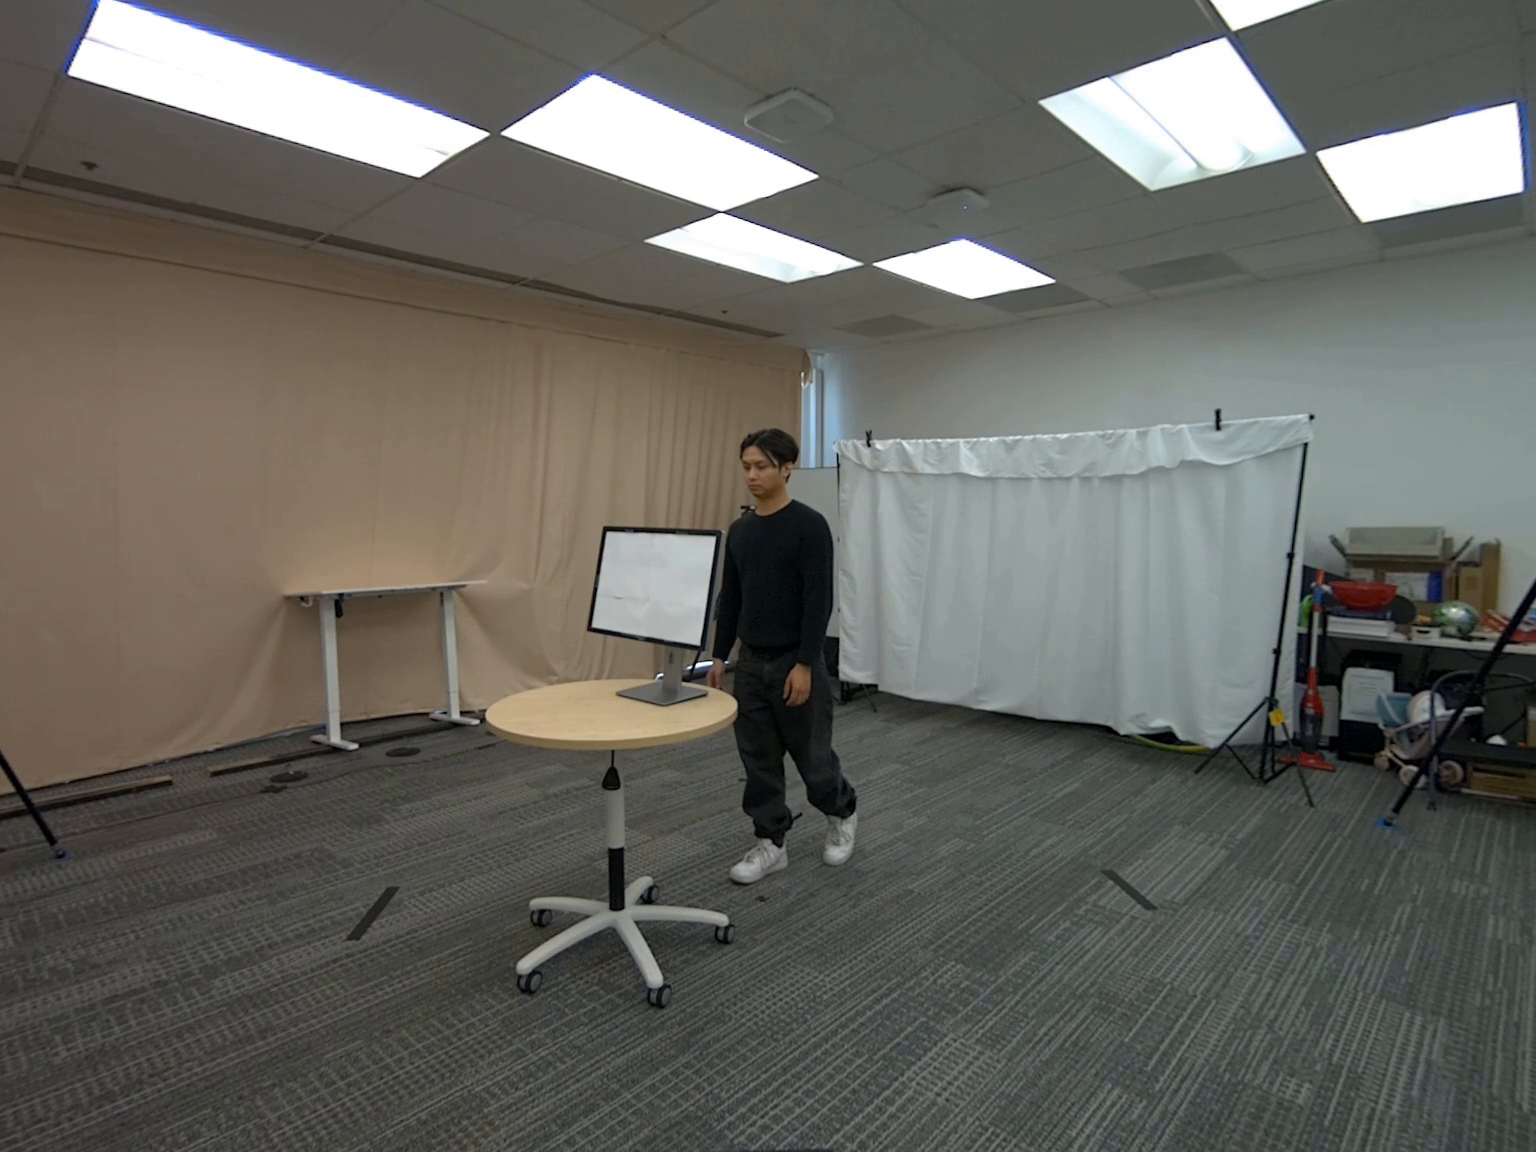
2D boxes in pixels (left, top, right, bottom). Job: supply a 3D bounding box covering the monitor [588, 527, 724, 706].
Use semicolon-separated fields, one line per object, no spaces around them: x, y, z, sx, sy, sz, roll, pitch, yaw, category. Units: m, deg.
-0.339;0.122;2.714;0.557;0.521;0.181;3;6;39;monitor
